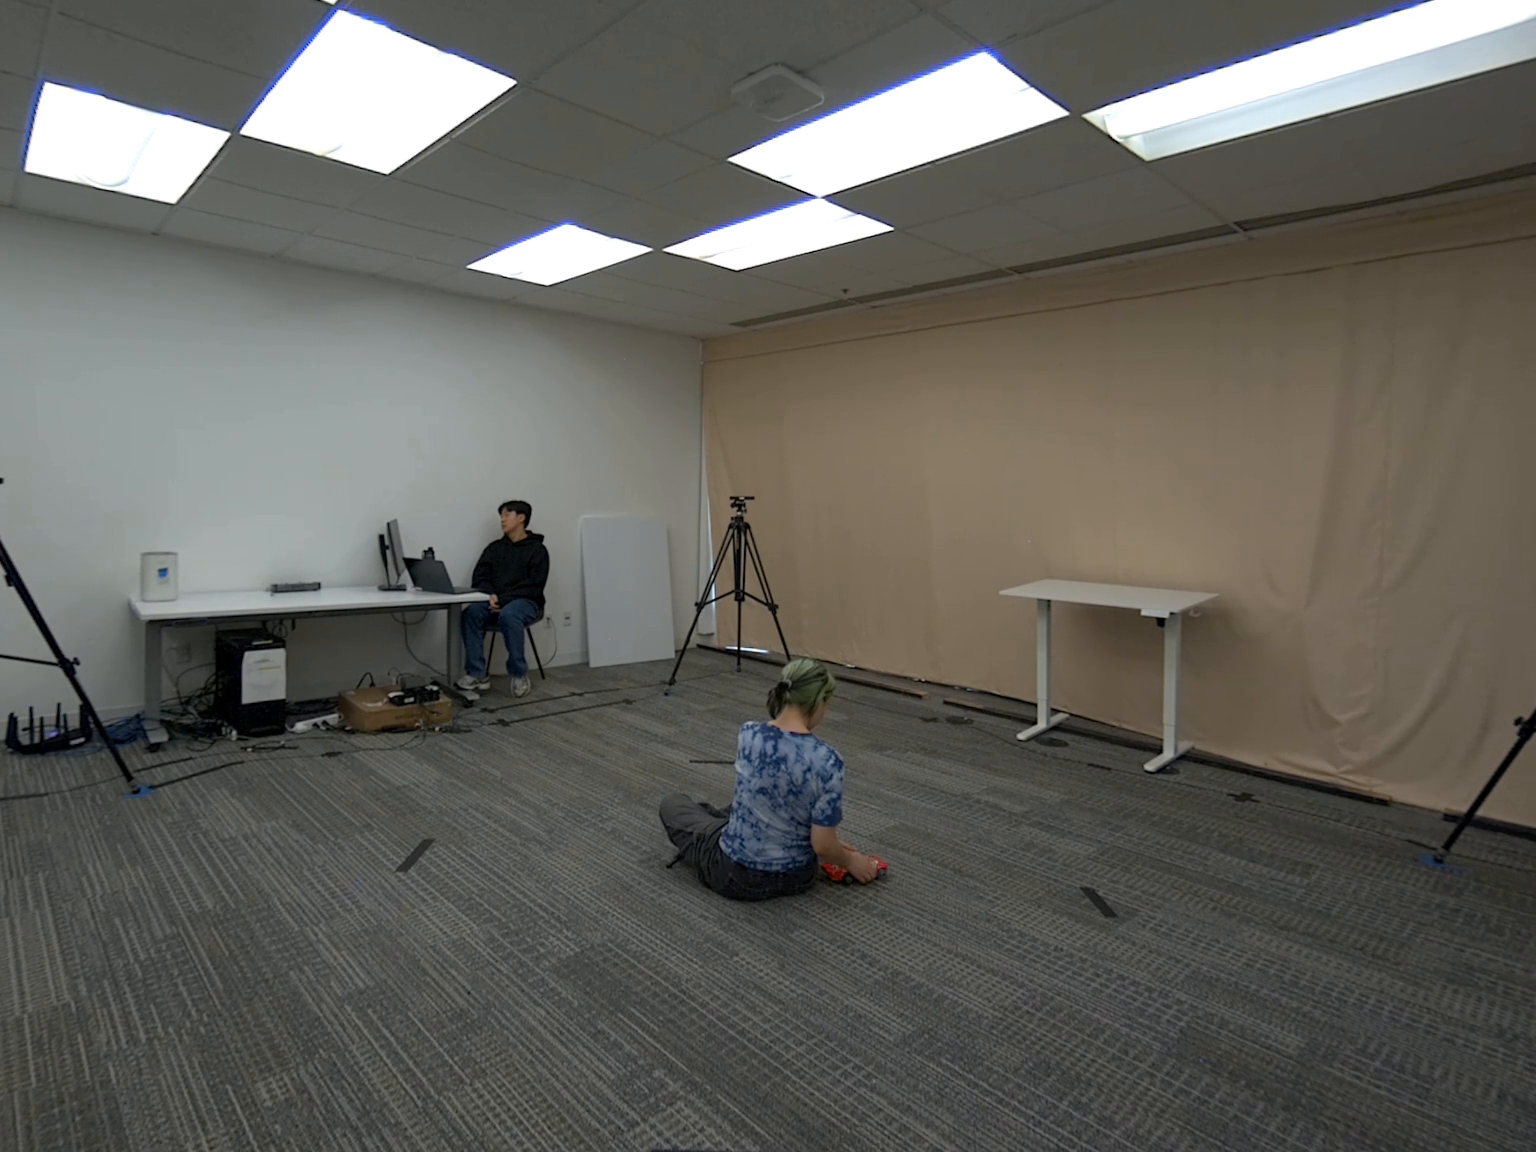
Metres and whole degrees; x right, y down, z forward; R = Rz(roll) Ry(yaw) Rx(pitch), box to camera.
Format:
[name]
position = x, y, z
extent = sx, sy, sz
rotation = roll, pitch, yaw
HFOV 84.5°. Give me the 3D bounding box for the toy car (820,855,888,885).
[toy car]
position = 0.307, 1.083, 3.107
extent = 0.250, 0.083, 0.133
rotation = 10, 1, -23
